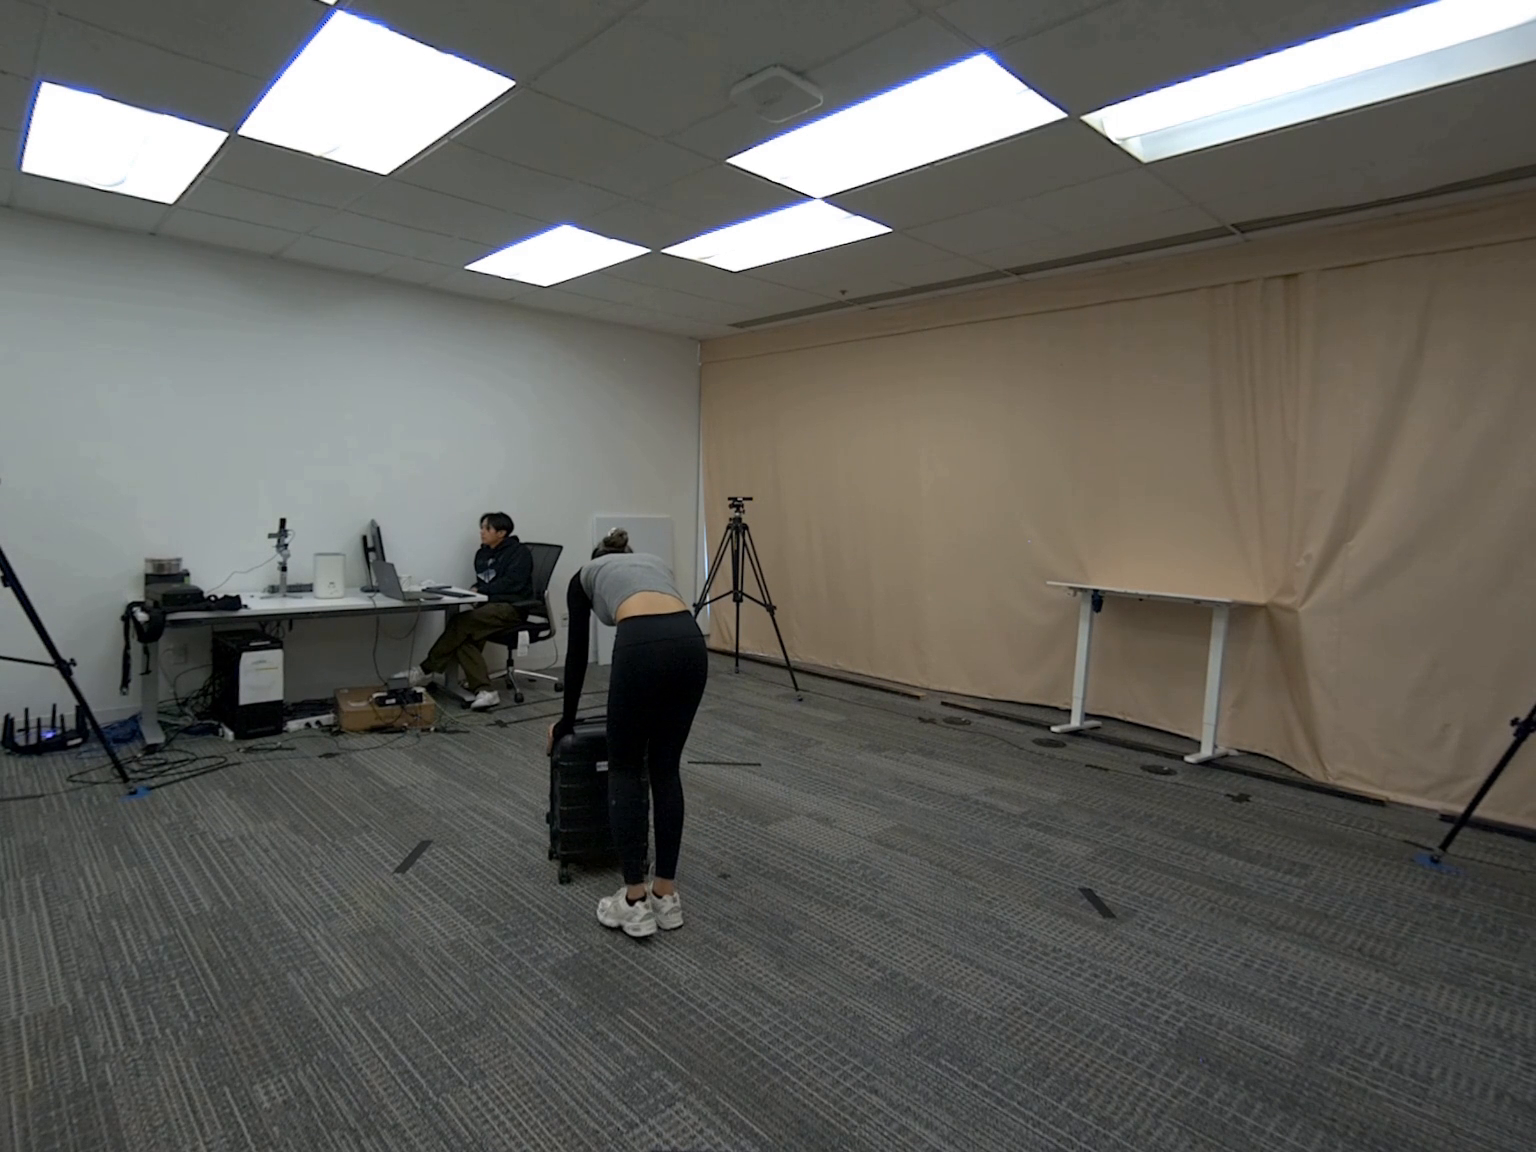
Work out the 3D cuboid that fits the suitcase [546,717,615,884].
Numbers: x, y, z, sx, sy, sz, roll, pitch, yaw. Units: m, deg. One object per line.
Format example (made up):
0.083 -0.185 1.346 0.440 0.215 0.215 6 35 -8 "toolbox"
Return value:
-0.647 0.814 3.185 0.370 0.548 0.252 0 3 -20 "suitcase"
